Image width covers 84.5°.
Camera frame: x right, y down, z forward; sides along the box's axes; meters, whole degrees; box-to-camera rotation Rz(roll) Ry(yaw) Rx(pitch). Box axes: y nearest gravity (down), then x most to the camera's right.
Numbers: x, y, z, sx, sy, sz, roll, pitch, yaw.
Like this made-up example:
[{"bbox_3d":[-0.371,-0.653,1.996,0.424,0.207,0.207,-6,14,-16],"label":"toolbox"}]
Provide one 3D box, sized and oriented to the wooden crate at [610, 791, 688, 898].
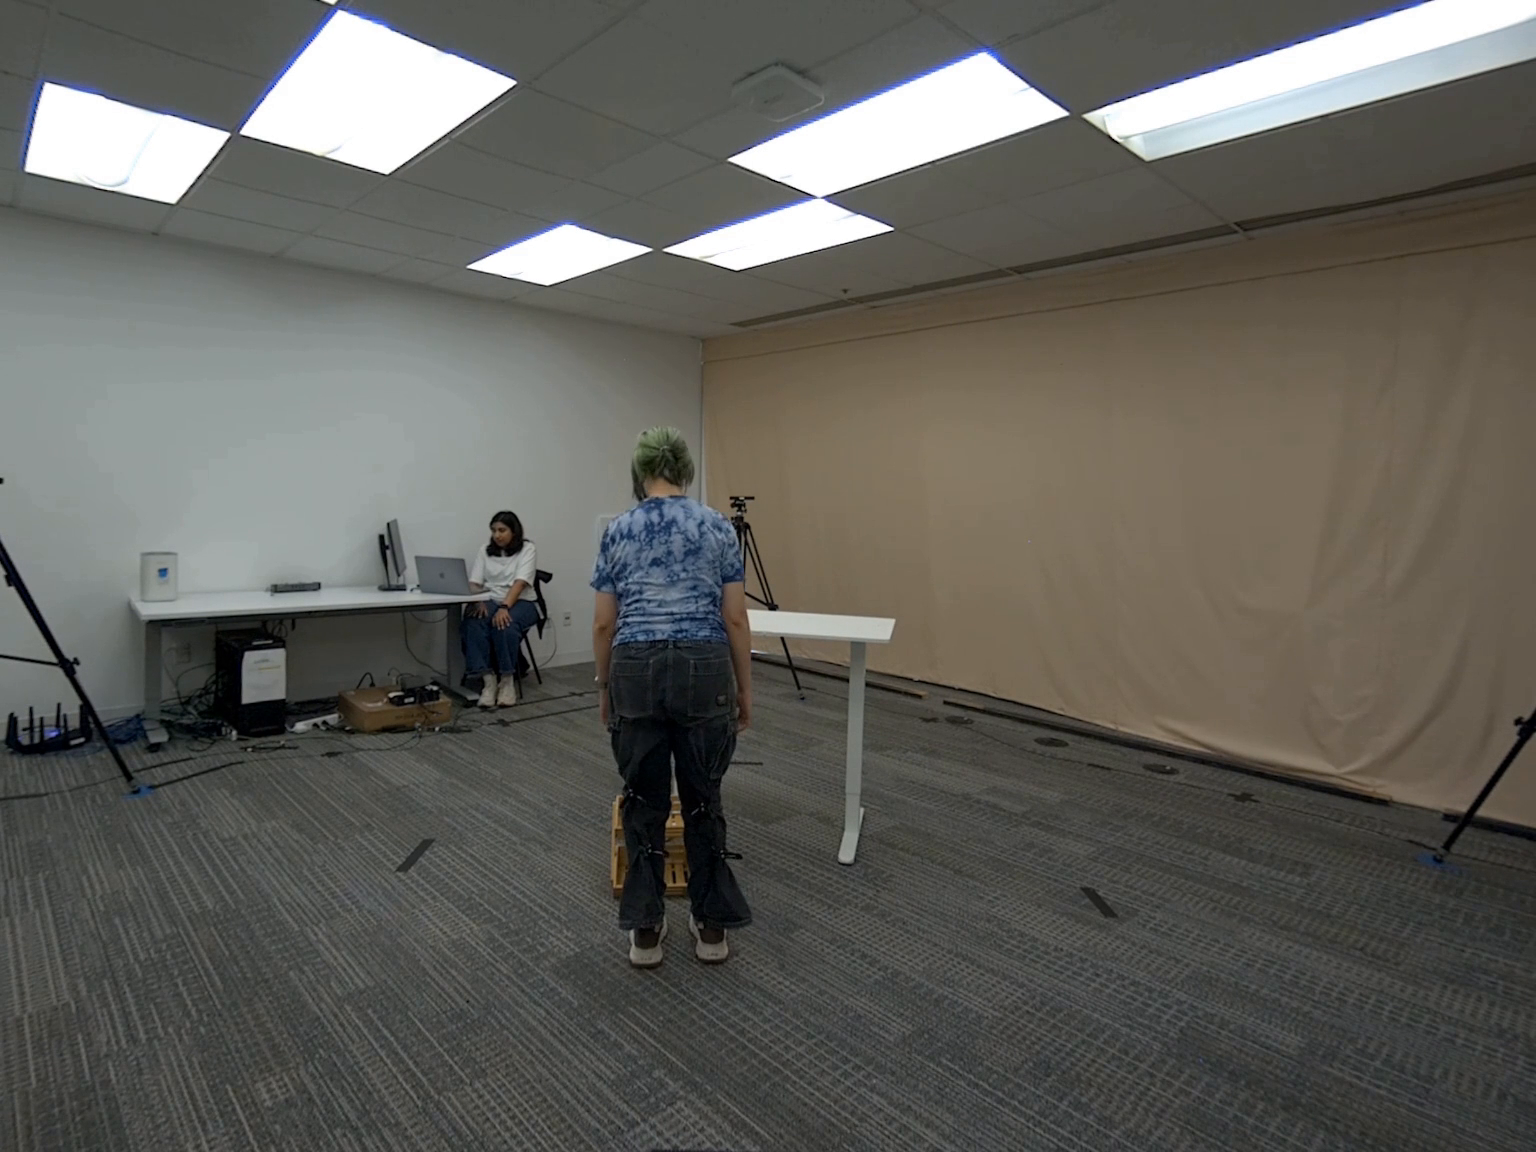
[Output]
[{"bbox_3d":[-0.412,0.976,3.048,0.322,0.273,0.304,1,2,-8],"label":"wooden crate"}]
